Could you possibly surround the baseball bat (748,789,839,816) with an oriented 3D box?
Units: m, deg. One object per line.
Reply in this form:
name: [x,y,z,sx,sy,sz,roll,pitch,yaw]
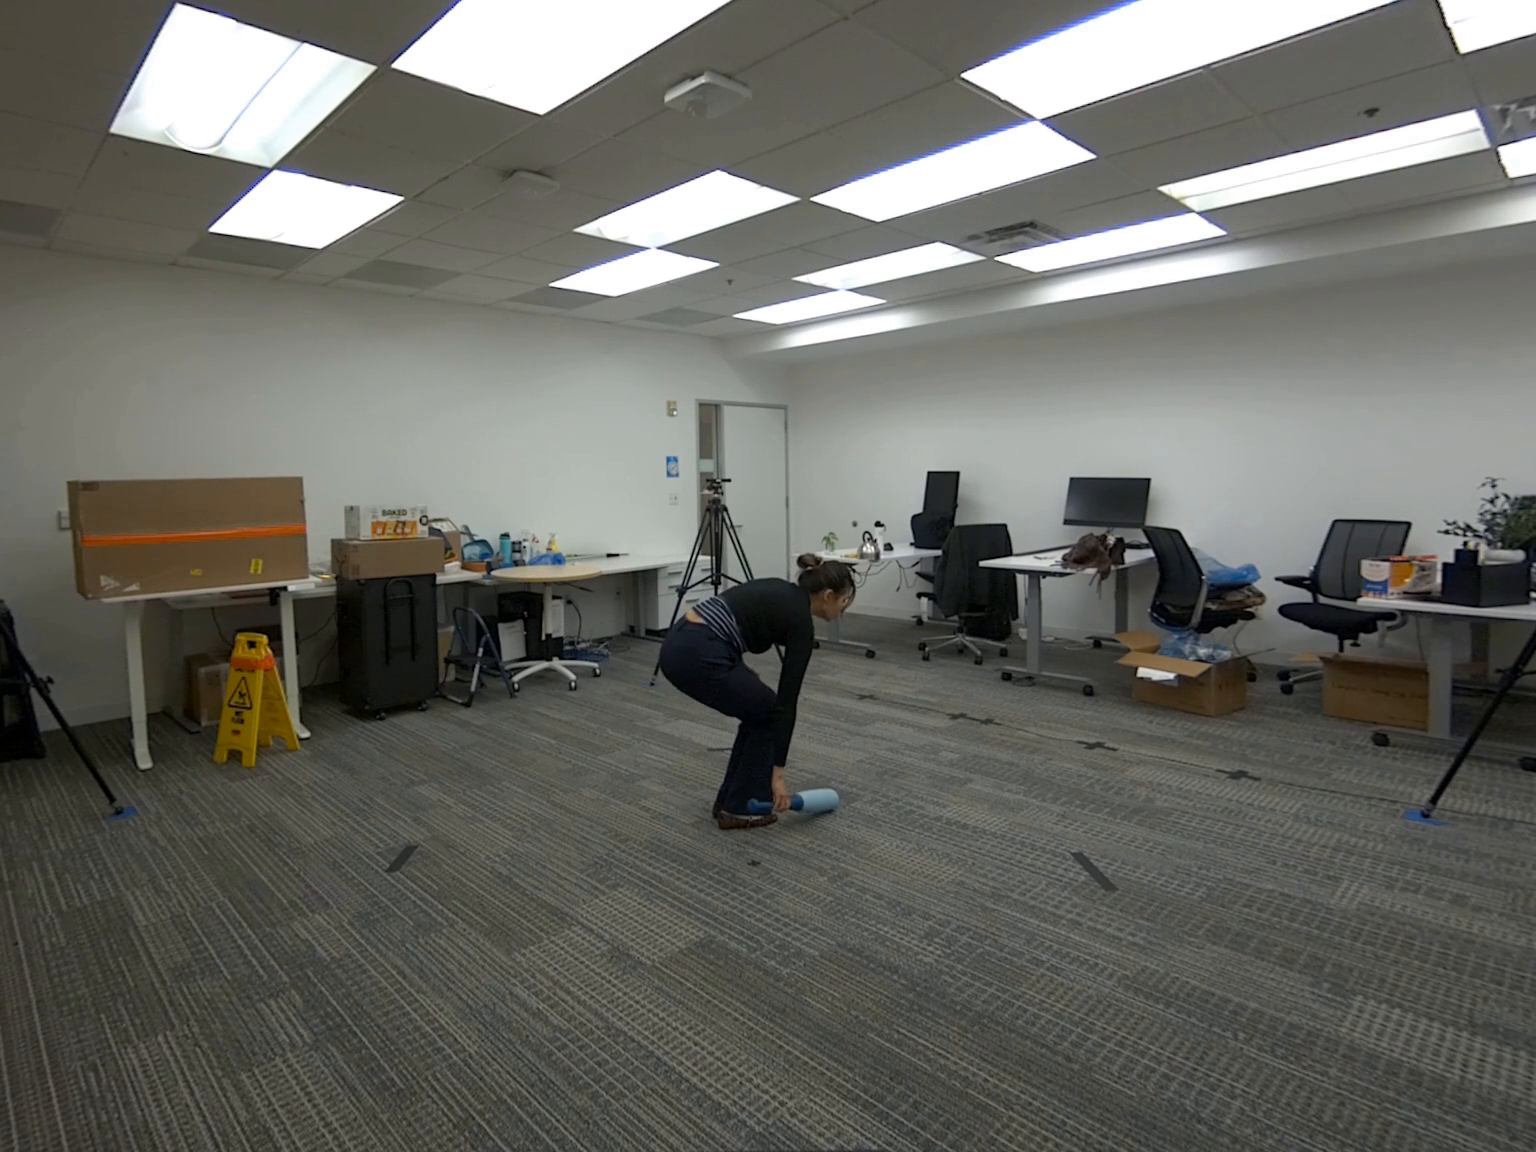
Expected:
baseball bat: [0.105,0.904,3.419,0.092,0.089,0.525,3,-6,40]
